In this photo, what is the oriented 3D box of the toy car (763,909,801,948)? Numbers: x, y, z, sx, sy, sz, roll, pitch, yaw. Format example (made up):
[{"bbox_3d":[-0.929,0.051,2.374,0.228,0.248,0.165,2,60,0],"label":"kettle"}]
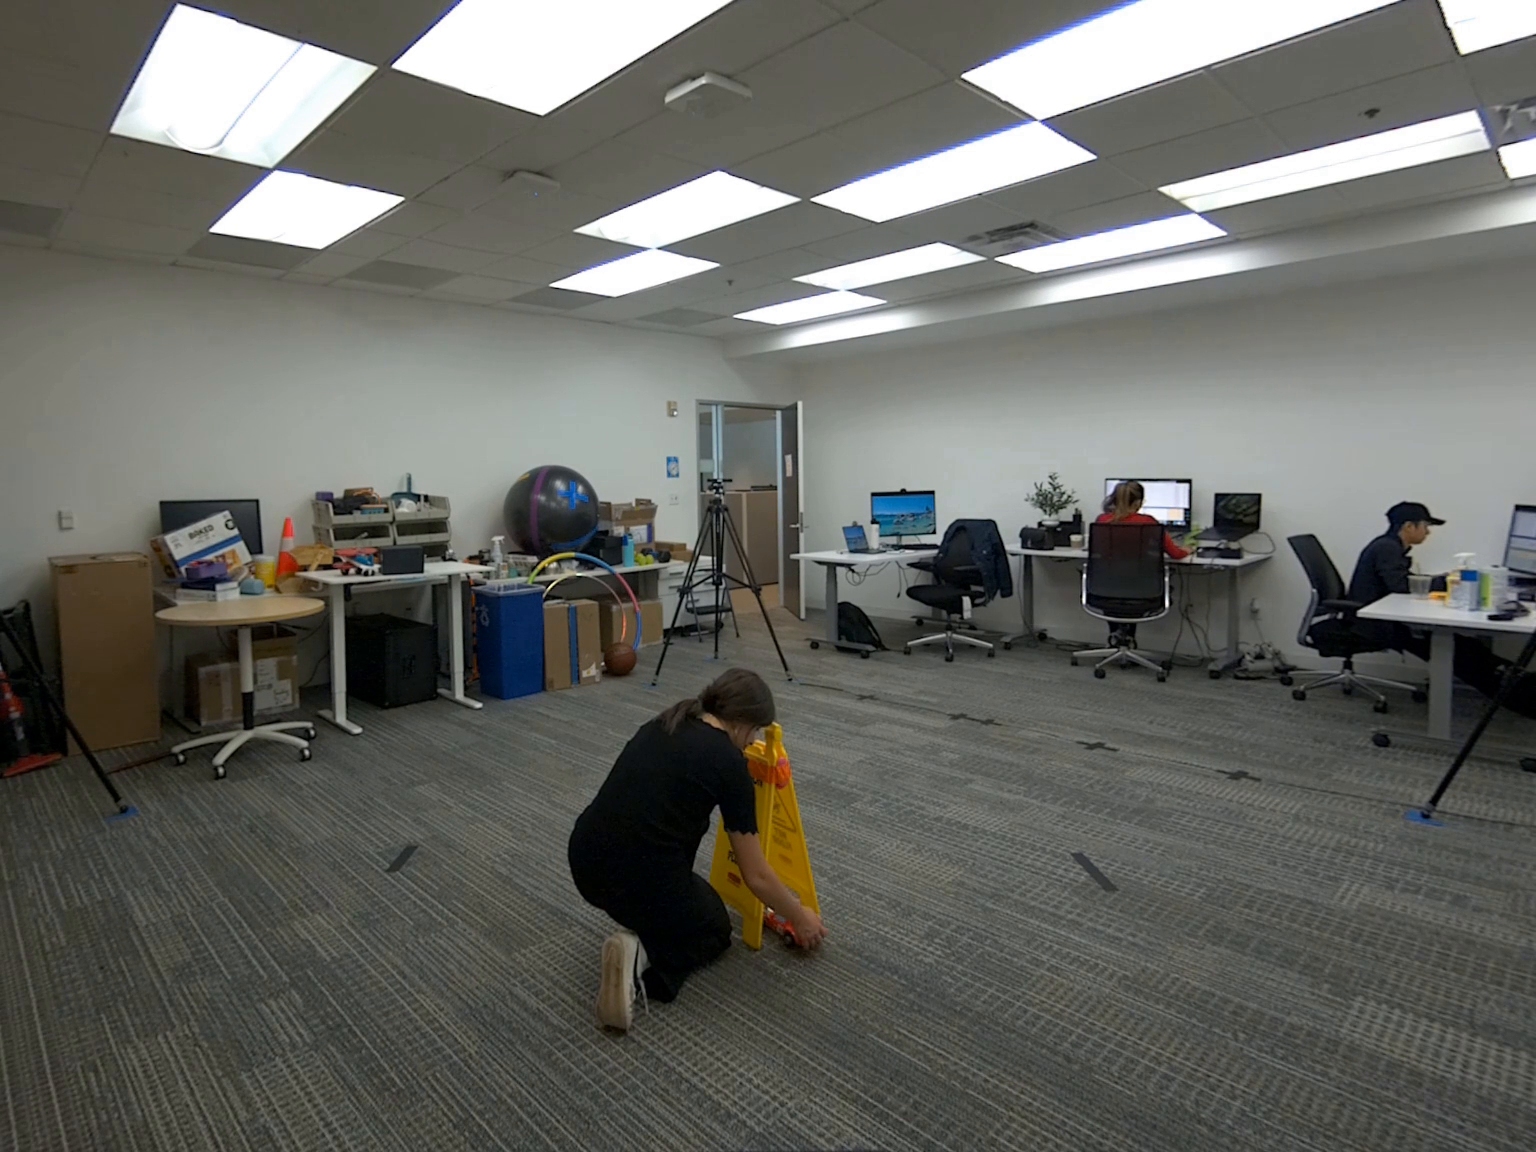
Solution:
[{"bbox_3d":[0.061,1.071,2.617,0.127,0.083,0.260,-5,-2,-36],"label":"toy car"}]
